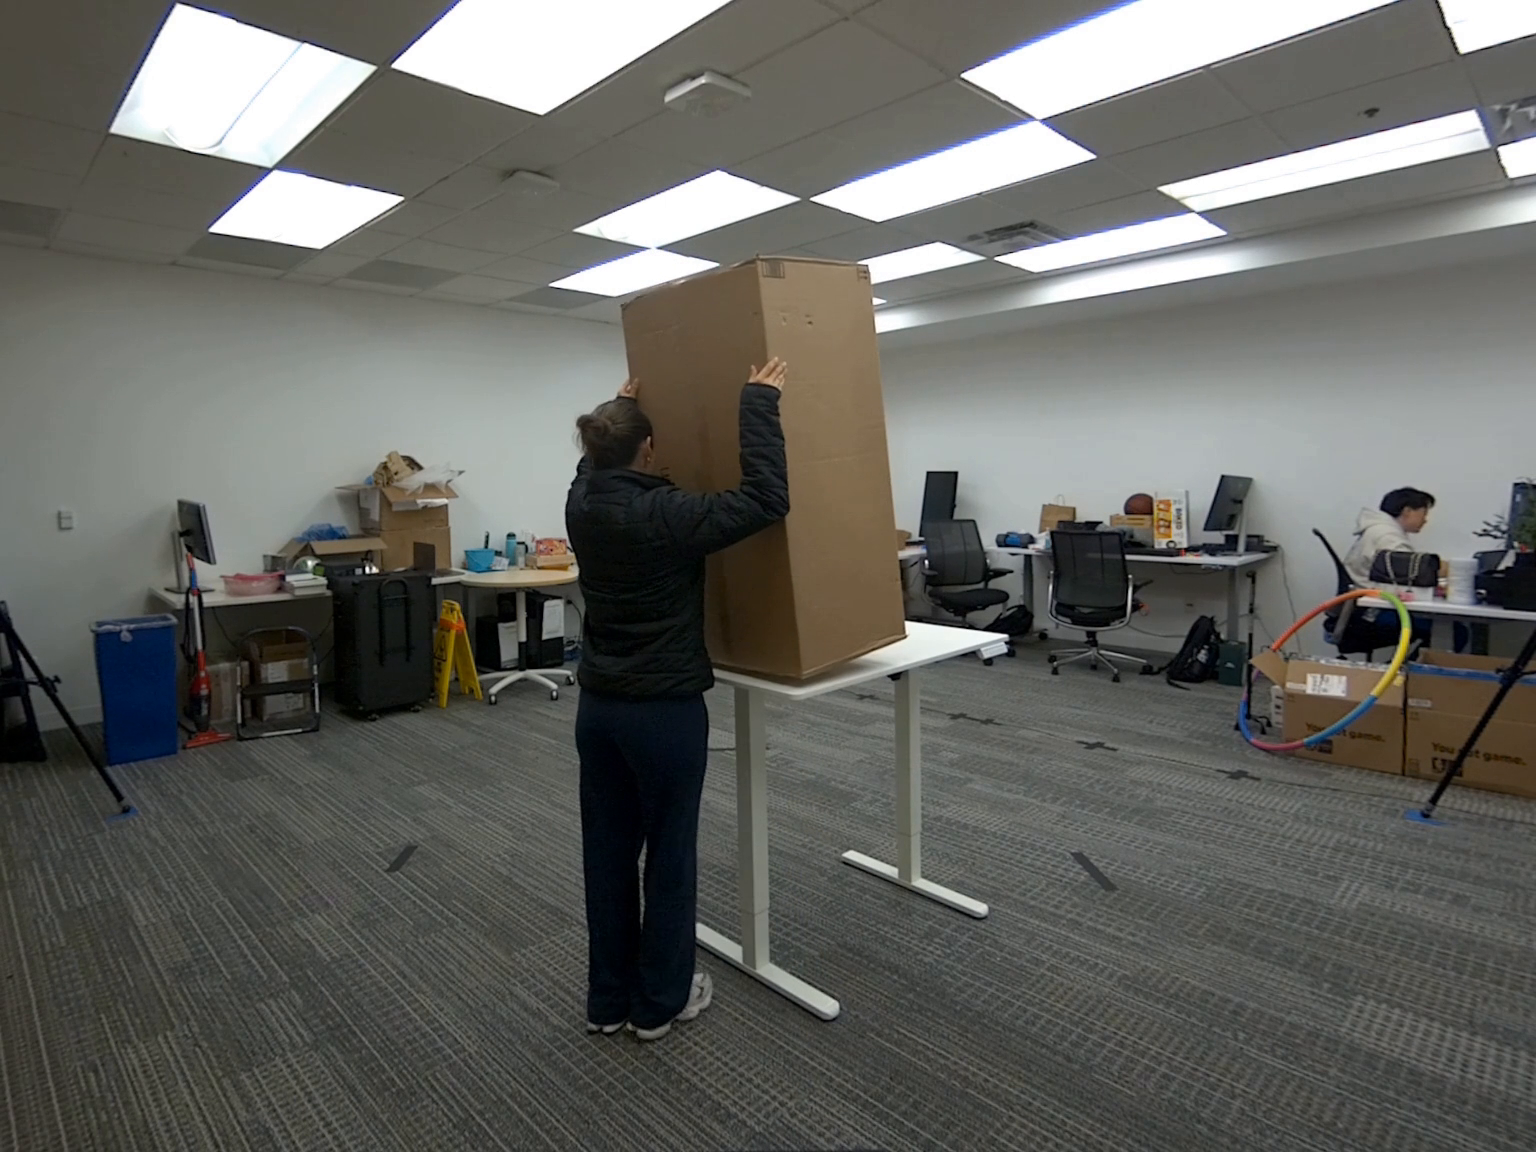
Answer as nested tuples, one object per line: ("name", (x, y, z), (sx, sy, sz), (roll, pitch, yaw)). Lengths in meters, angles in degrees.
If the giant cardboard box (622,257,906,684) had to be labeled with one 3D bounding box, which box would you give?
("giant cardboard box", (-0.016, -0.295, 2.408), (0.437, 1.020, 0.601), (-11, 8, -40))
